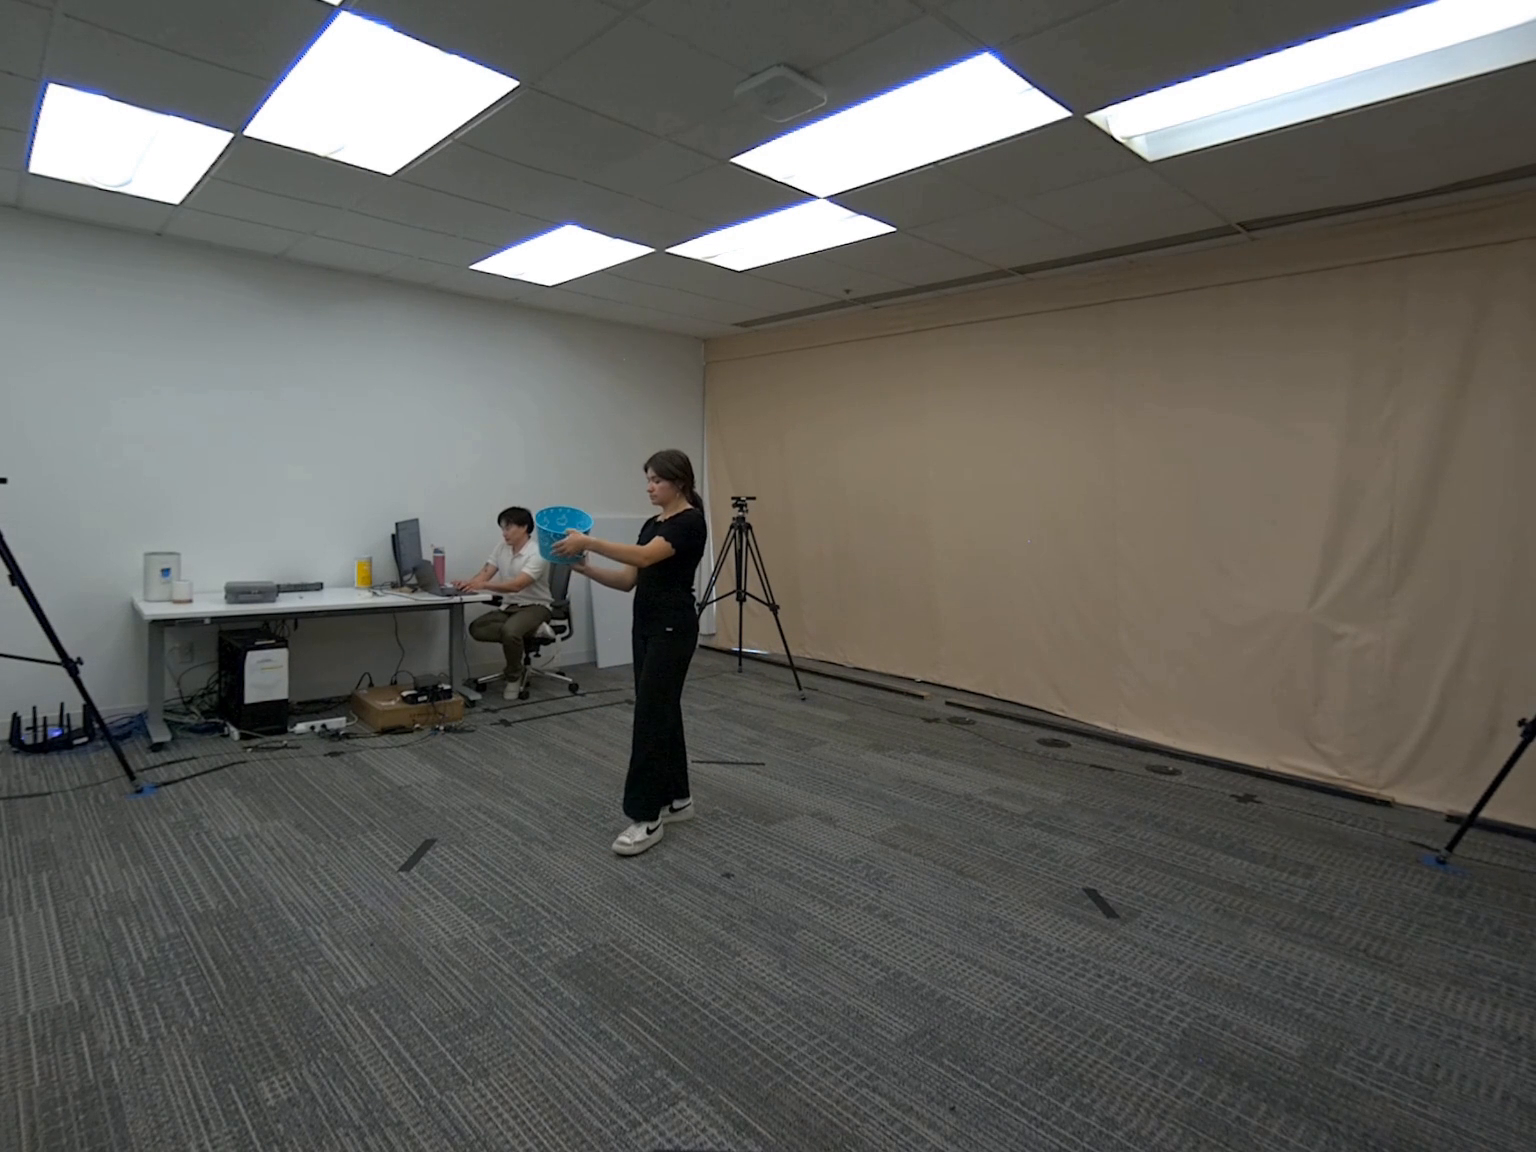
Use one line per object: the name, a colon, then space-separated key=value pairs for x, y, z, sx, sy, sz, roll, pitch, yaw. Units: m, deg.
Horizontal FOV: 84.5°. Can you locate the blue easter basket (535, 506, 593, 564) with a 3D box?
blue easter basket: x=-0.822 y=-0.156 z=3.380 sx=0.242 sy=0.153 sz=0.248 roll=7 pitch=30 yaw=-6
